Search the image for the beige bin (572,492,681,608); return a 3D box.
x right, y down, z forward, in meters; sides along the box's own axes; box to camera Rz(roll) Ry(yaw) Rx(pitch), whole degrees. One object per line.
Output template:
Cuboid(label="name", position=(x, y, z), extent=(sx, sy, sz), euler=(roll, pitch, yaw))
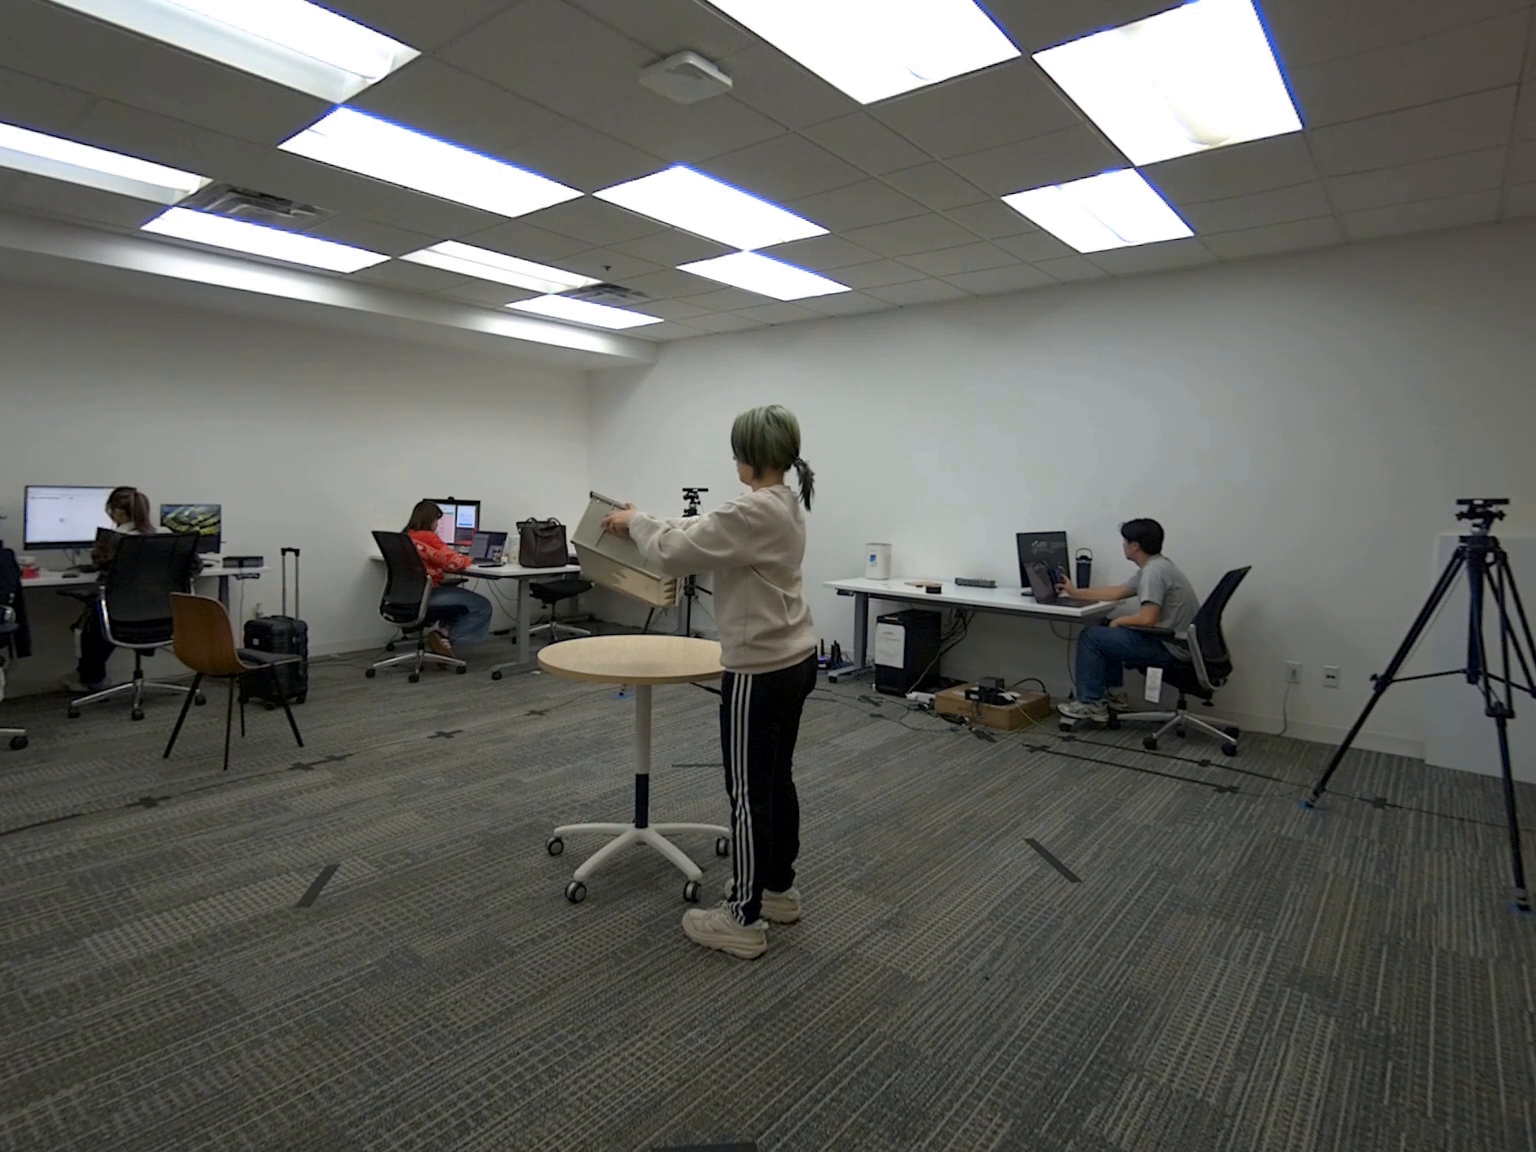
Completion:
Cuboid(label="beige bin", position=(-0.461, -0.067, 2.892), extent=(0.379, 0.190, 0.418), euler=(22, -17, 1))
